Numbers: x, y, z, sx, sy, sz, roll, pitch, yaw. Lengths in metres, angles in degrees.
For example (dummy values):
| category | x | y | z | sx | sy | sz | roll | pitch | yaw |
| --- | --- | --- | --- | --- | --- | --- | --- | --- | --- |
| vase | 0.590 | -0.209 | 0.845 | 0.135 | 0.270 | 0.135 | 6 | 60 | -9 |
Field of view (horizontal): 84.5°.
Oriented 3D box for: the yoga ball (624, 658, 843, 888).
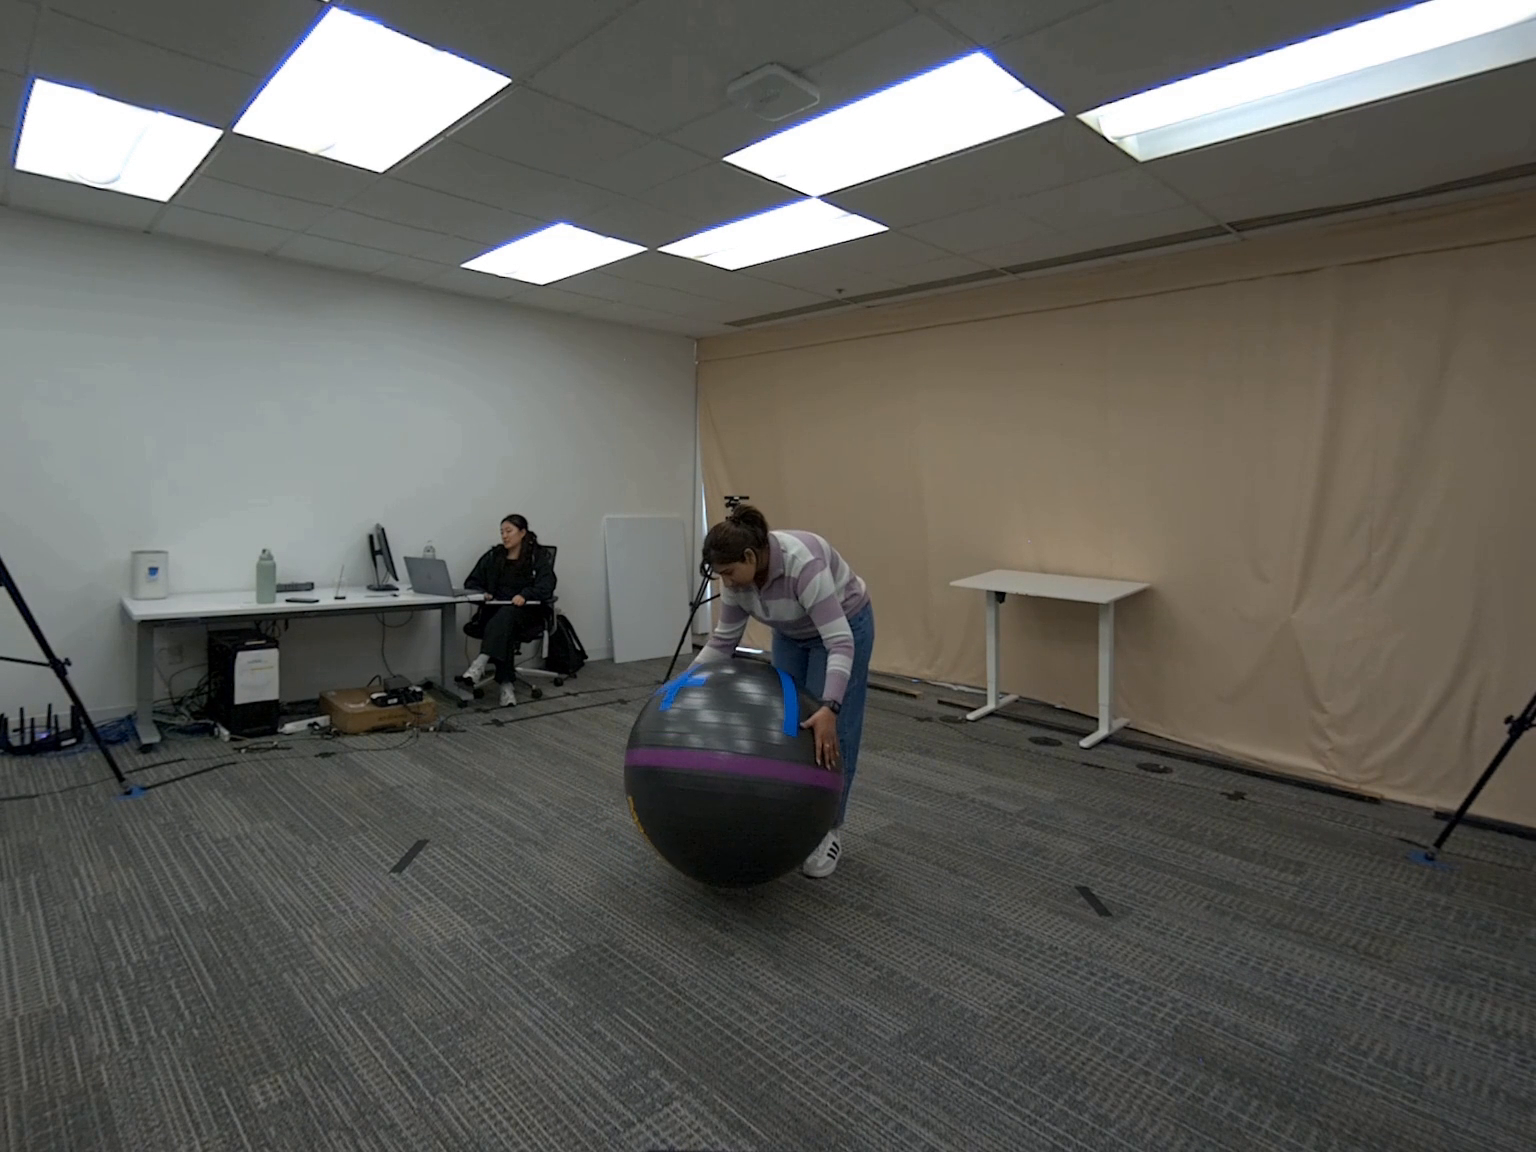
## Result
| category | x | y | z | sx | sy | sz | roll | pitch | yaw |
| --- | --- | --- | --- | --- | --- | --- | --- | --- | --- |
| yoga ball | -0.130 | 0.677 | 2.923 | 0.757 | 0.756 | 0.761 | 1 | 4 | -1 |
